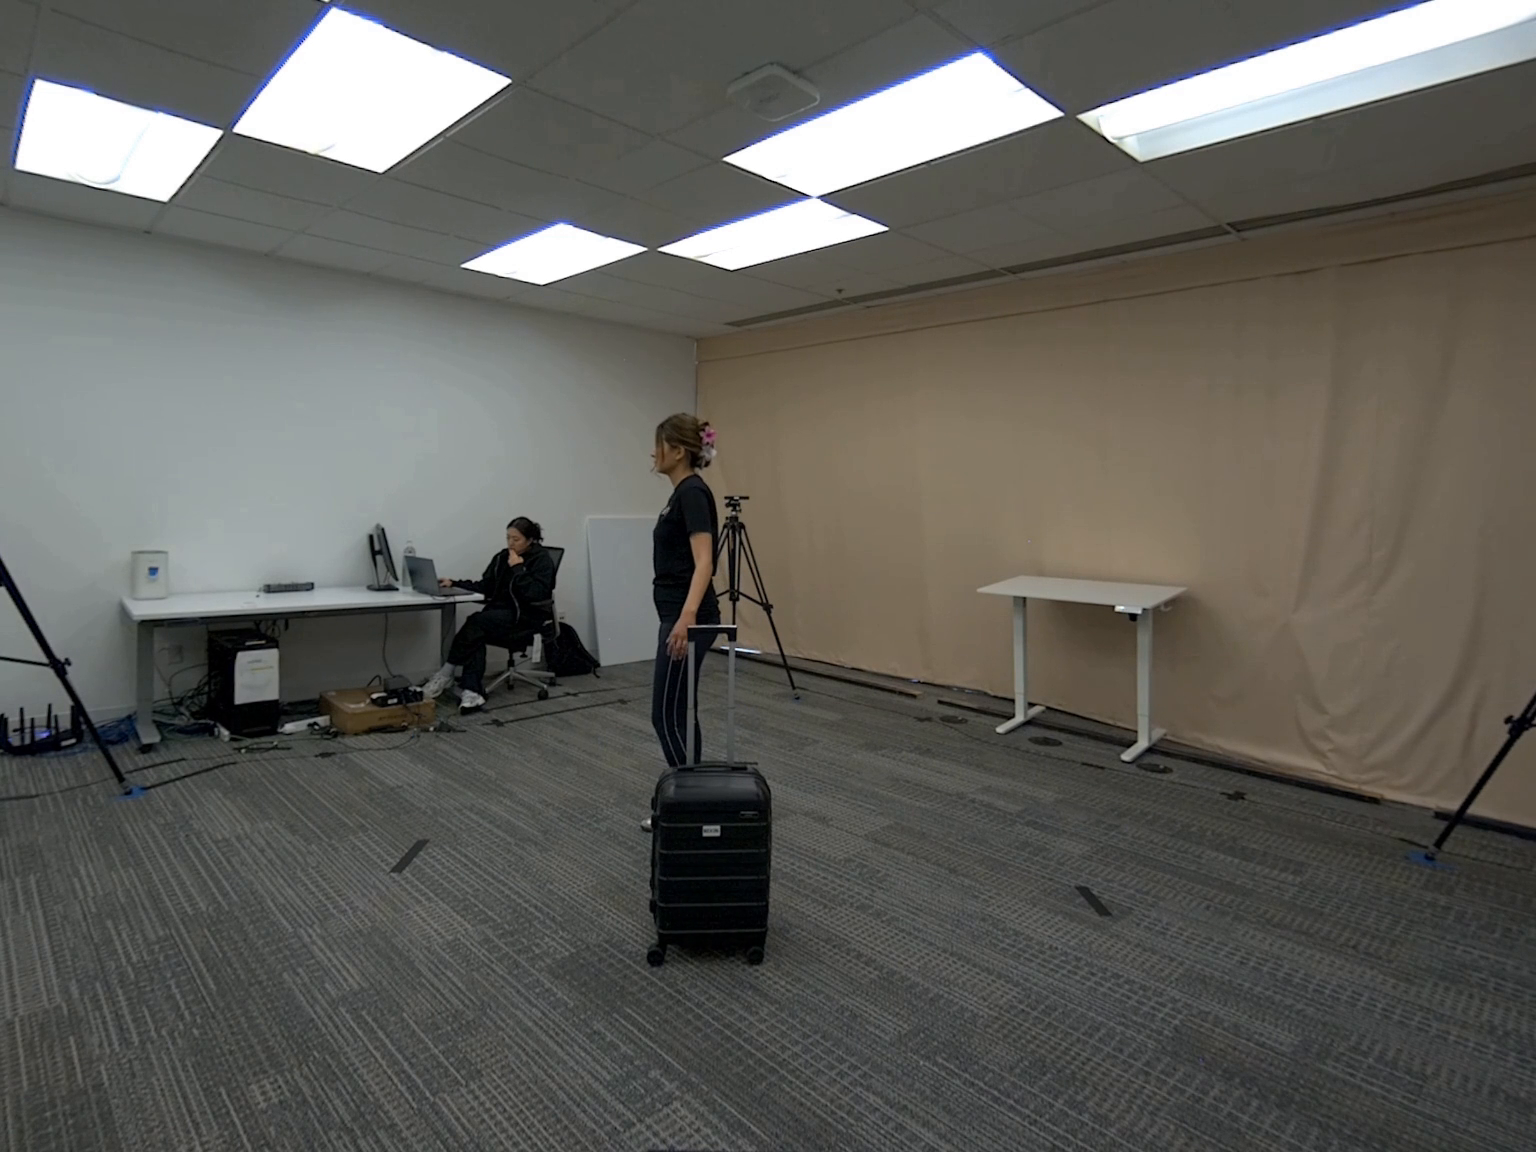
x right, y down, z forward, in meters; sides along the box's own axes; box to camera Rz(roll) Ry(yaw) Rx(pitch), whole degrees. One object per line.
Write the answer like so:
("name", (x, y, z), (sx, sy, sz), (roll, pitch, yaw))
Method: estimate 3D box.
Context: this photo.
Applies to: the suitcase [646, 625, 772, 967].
("suitcase", (-0.175, 0.670, 2.589), (0.383, 0.975, 0.259), (1, 5, -3))
